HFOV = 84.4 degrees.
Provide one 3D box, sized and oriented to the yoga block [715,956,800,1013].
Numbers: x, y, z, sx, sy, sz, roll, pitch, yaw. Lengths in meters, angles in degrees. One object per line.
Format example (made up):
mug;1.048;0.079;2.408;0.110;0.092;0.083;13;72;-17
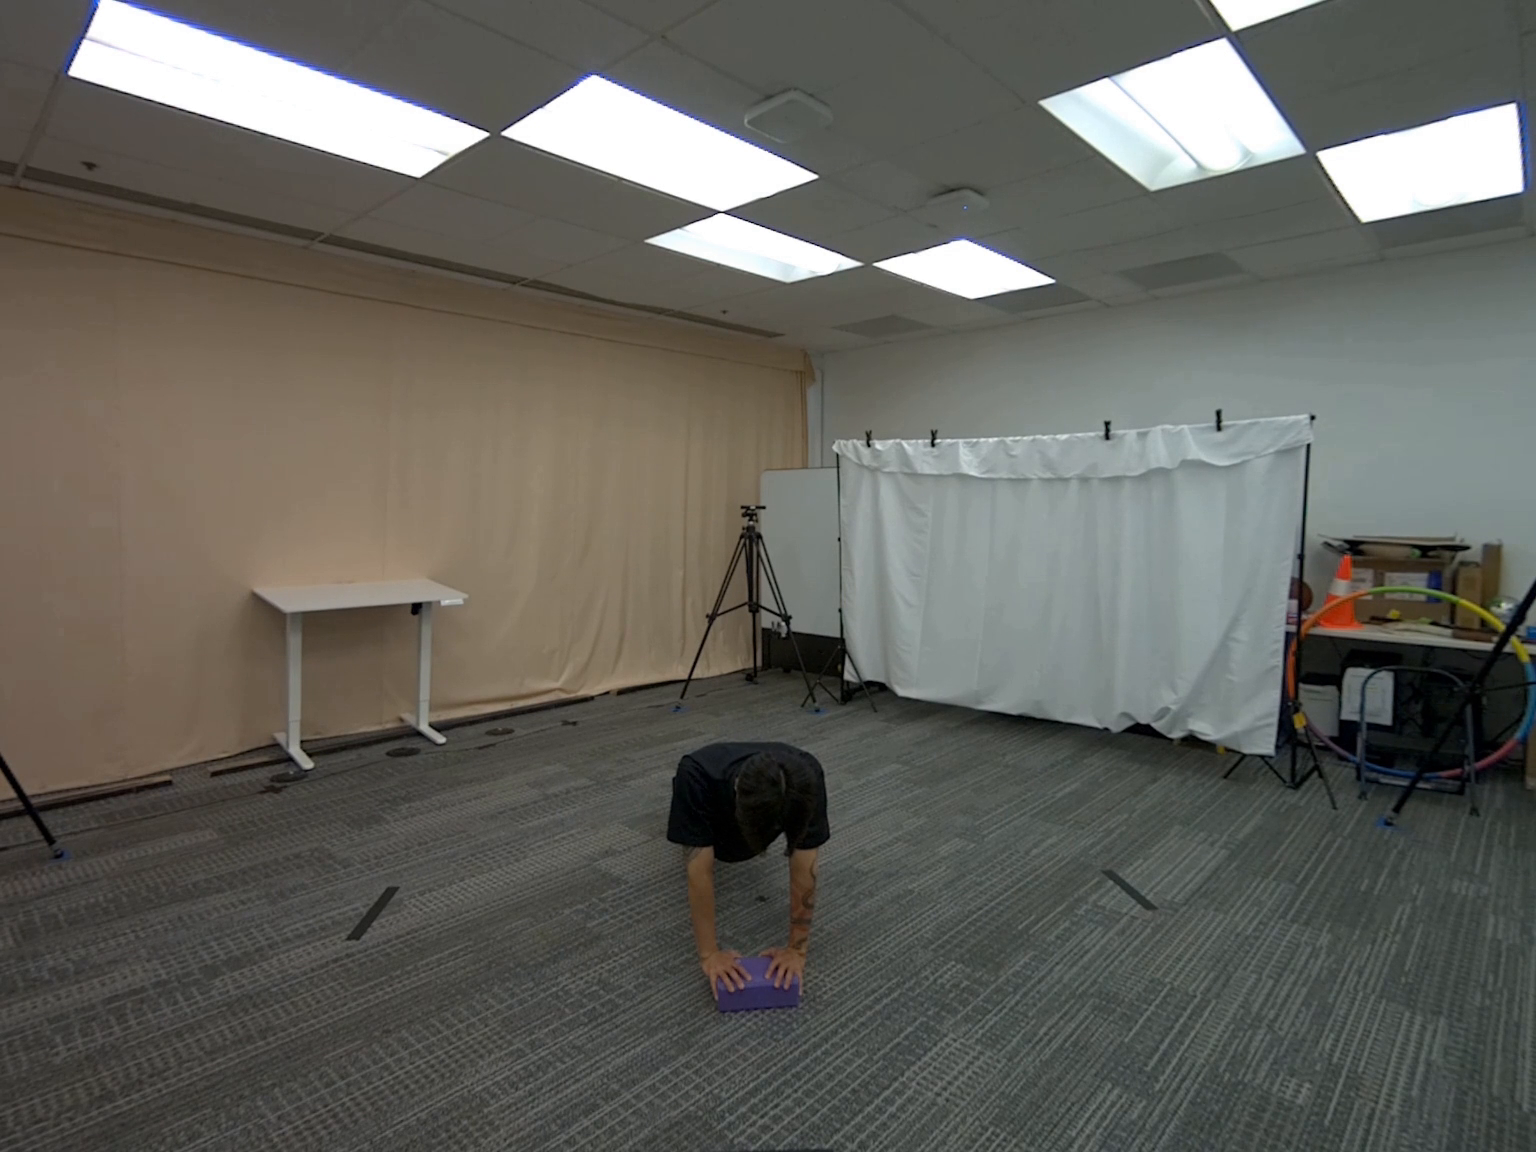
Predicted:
yoga block;-0.037;1.151;2.394;0.227;0.076;0.150;0;4;-9
